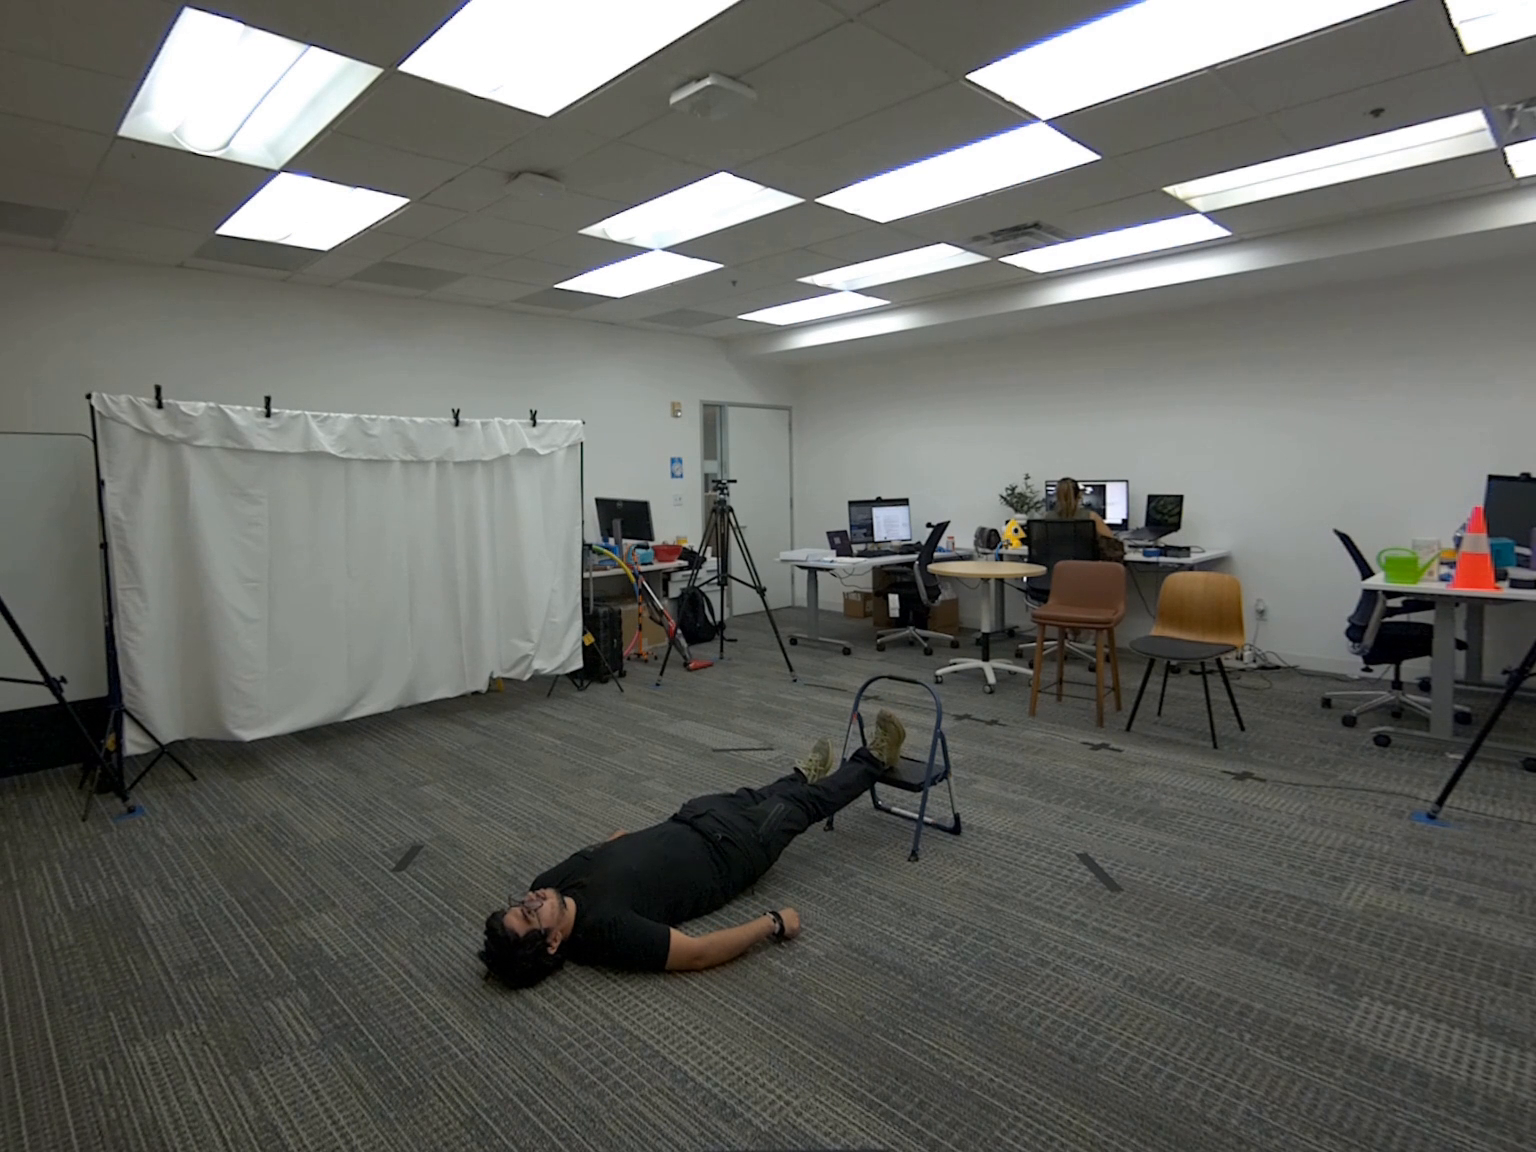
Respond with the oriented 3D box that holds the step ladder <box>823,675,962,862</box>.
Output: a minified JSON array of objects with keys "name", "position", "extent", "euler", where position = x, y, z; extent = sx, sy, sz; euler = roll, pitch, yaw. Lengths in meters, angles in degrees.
[{"name":"step ladder","position":[0.494,0.708,3.355],"extent":[0.444,0.604,0.340],"euler":[4,6,44]}]
